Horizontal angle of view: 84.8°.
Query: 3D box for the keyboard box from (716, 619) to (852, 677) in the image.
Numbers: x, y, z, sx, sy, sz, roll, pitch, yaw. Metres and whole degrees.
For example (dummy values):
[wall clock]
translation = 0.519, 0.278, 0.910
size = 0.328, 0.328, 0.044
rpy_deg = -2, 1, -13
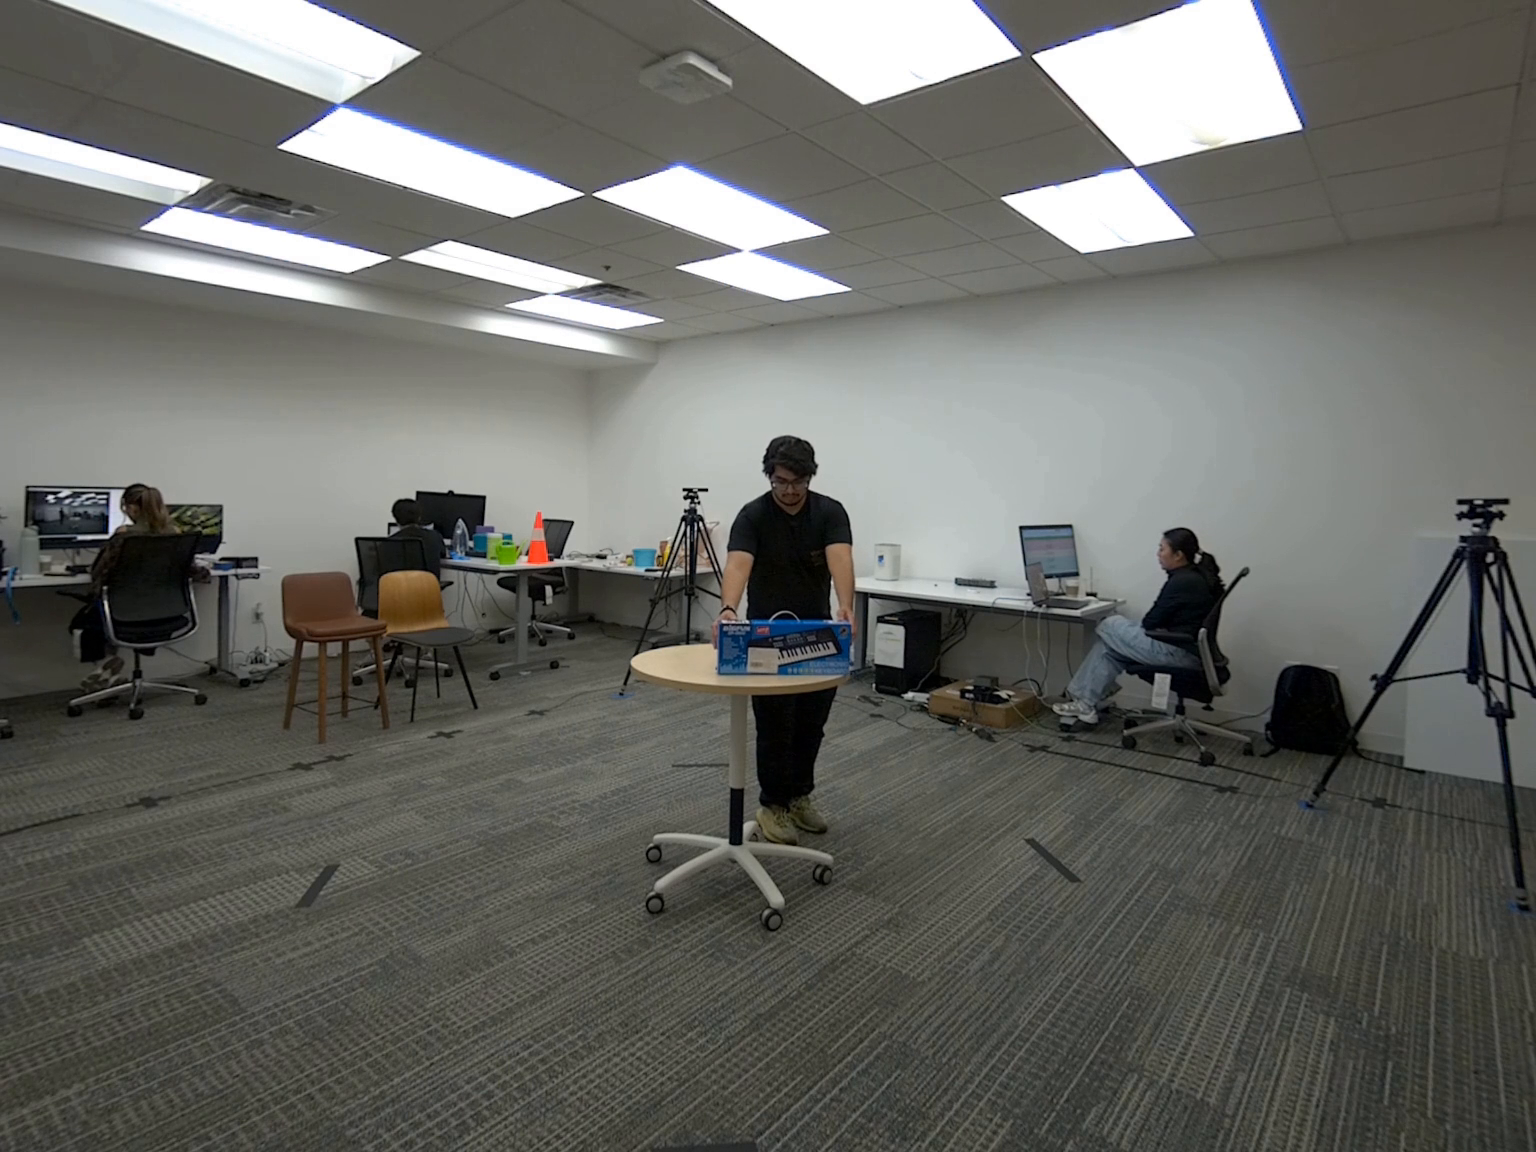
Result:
[keyboard box]
translation = 0.047, 0.229, 2.808
size = 0.434, 0.175, 0.060
rpy_deg = 1, 5, -6
